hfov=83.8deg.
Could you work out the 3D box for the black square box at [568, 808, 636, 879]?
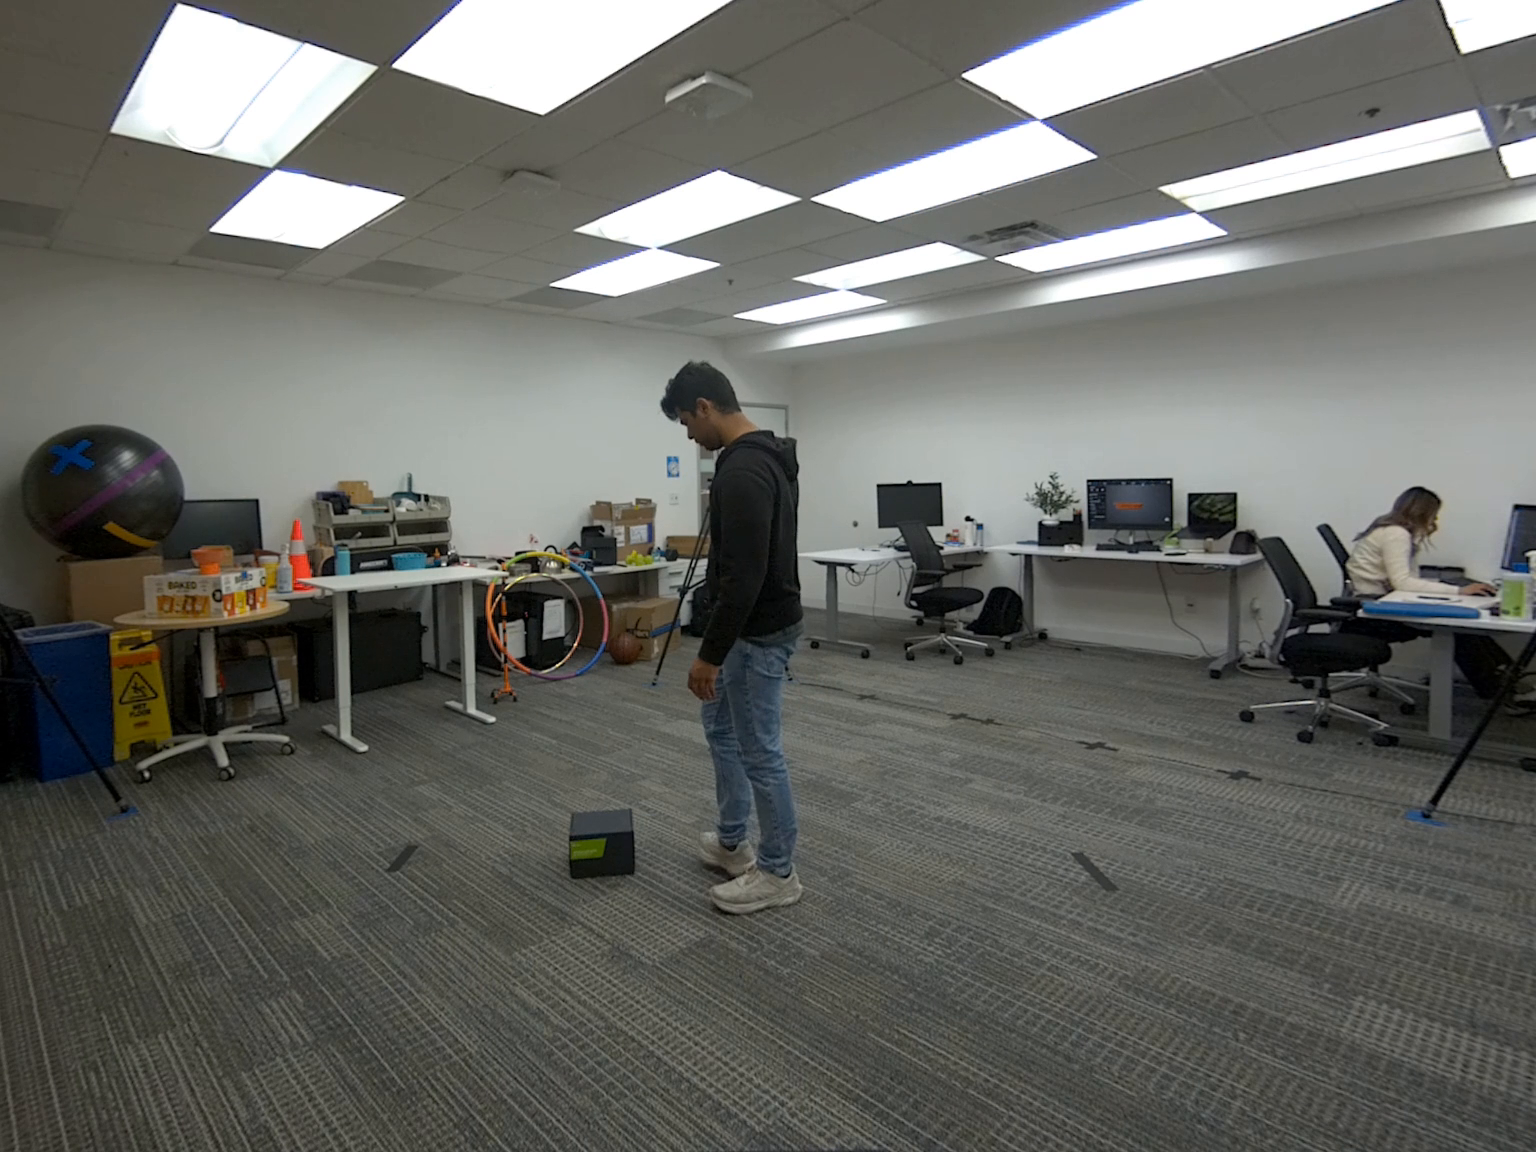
[{"bbox_3d":[-0.592,0.966,3.114,0.226,0.155,0.220,-2,6,-9],"label":"black square box"}]
